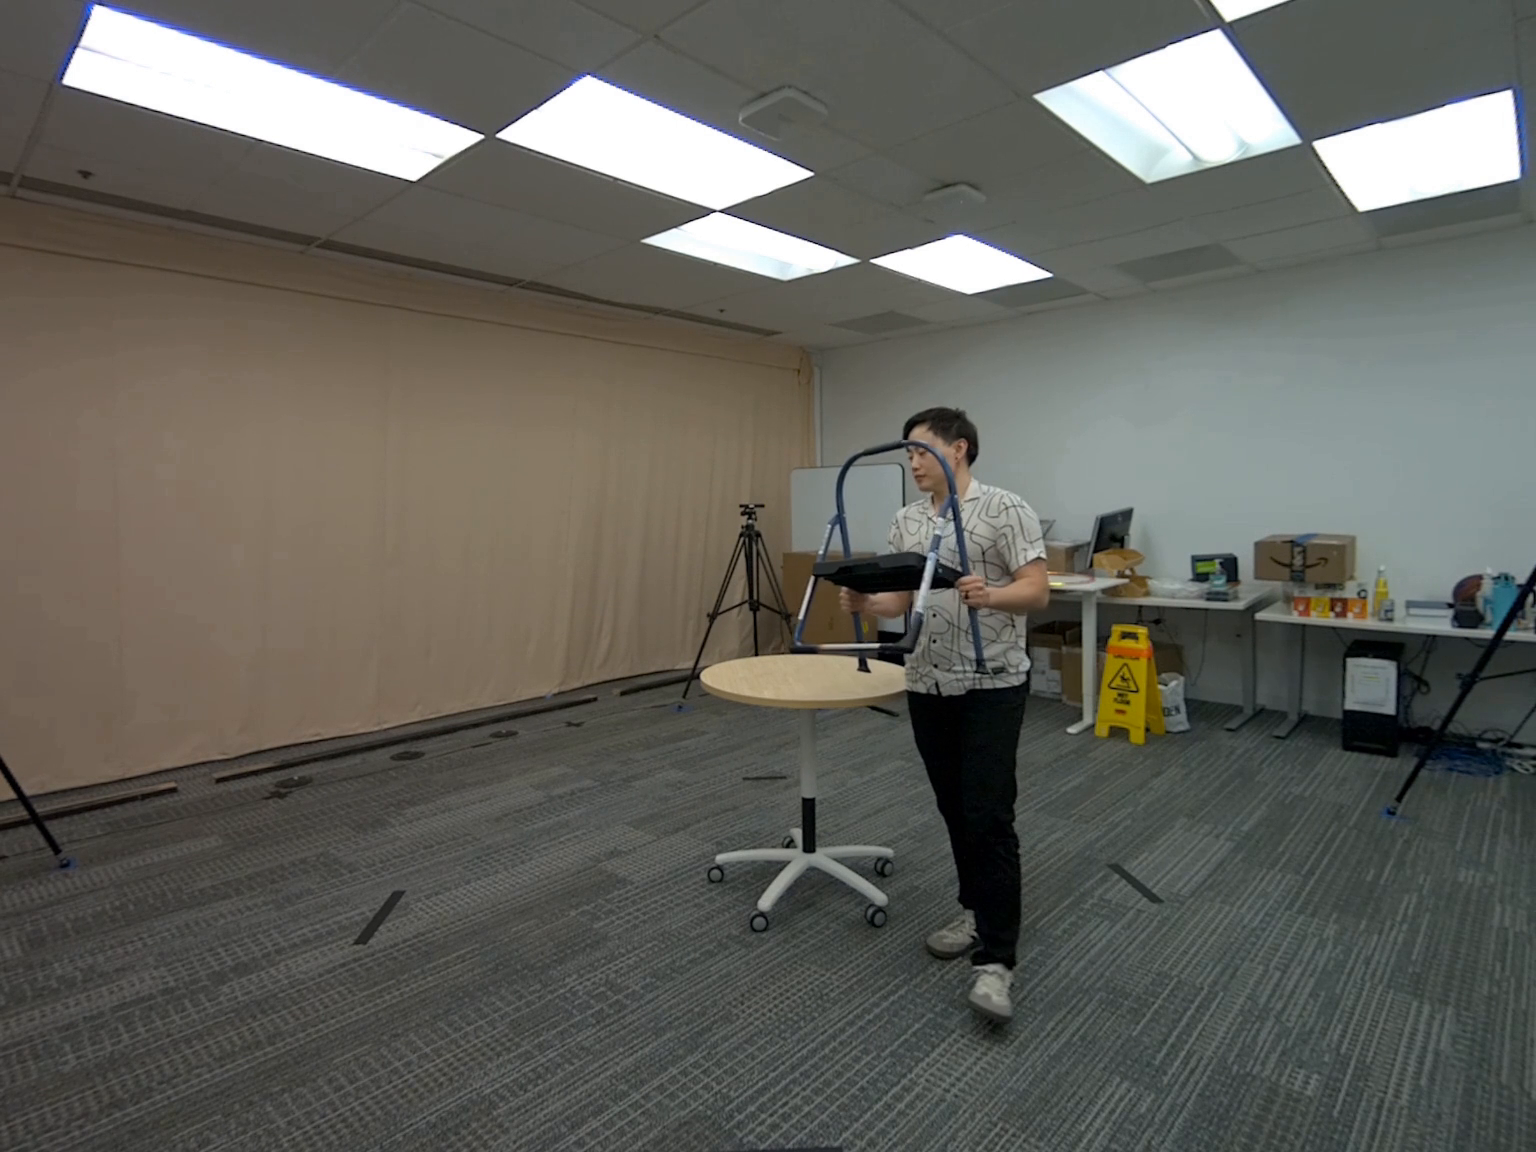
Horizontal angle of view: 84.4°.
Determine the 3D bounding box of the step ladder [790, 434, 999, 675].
[{"bbox_3d":[0.359,-0.058,2.343,0.337,0.610,0.443,17,-17,-41],"label":"step ladder"}]
